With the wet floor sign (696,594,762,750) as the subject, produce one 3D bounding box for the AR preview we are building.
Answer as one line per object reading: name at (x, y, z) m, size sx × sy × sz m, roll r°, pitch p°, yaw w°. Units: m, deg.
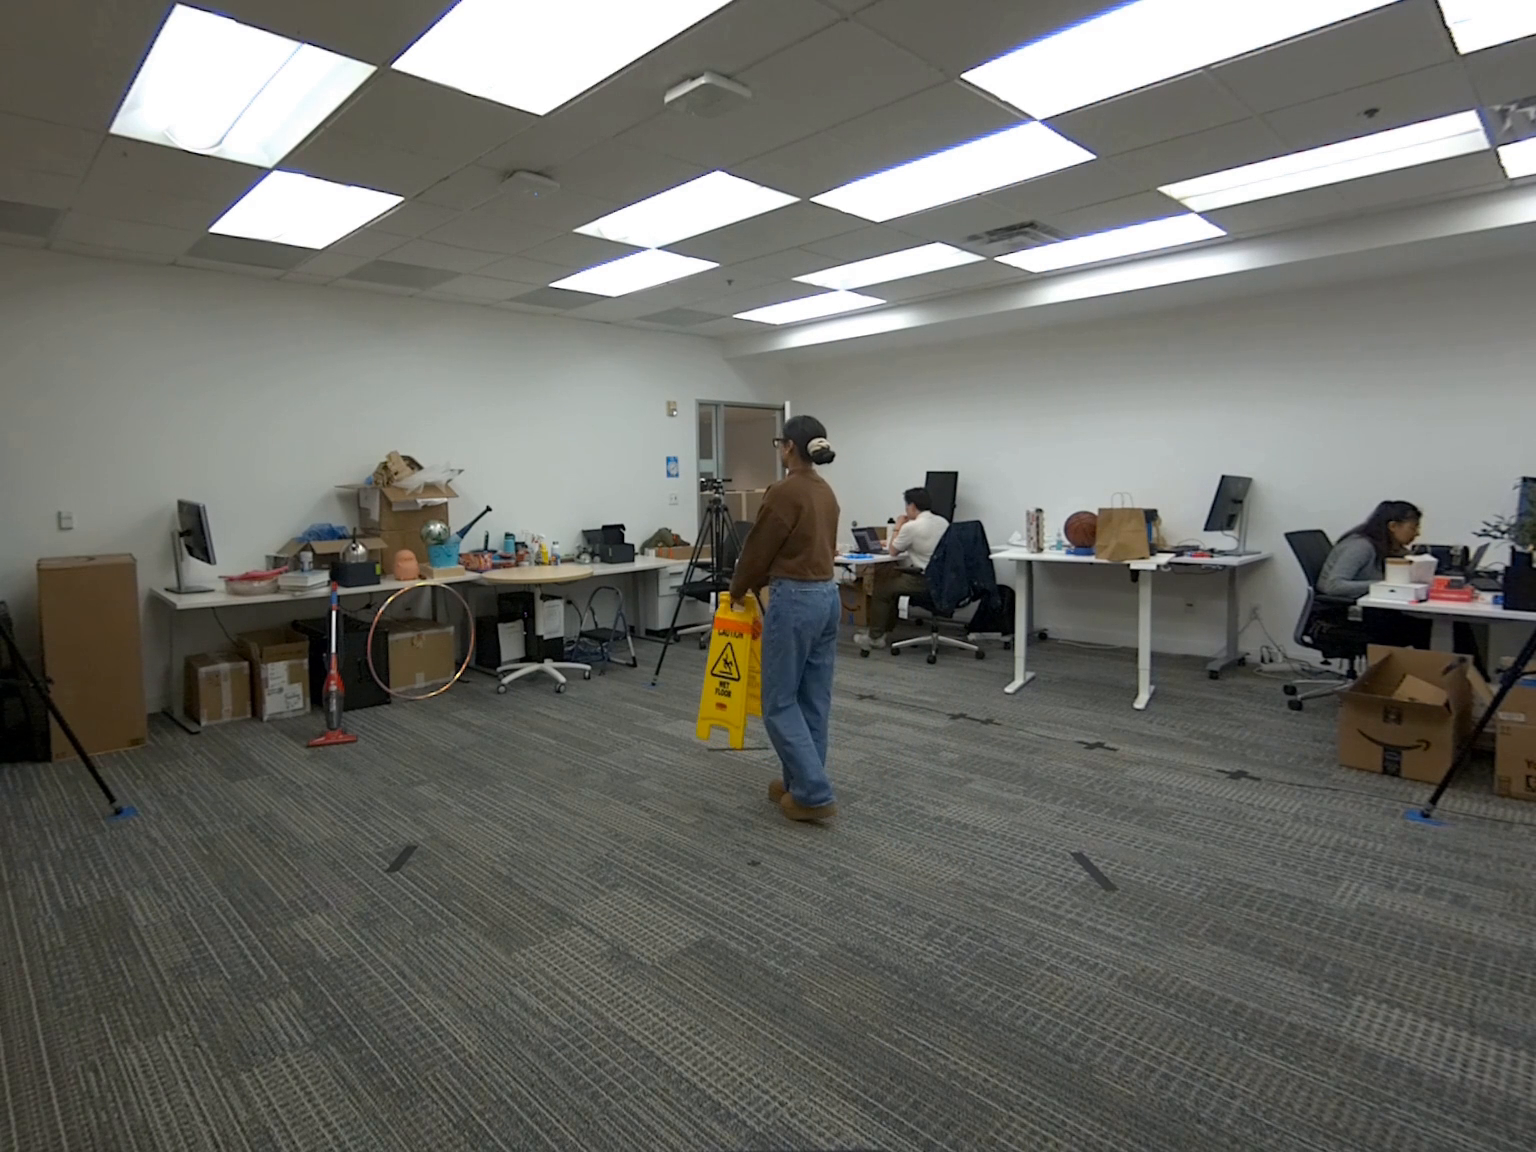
wet floor sign at (-0.138, 0.402, 3.823) m, size 0.291 × 0.643 × 0.282 m, roll 3°, pitch 6°, yaw 41°
